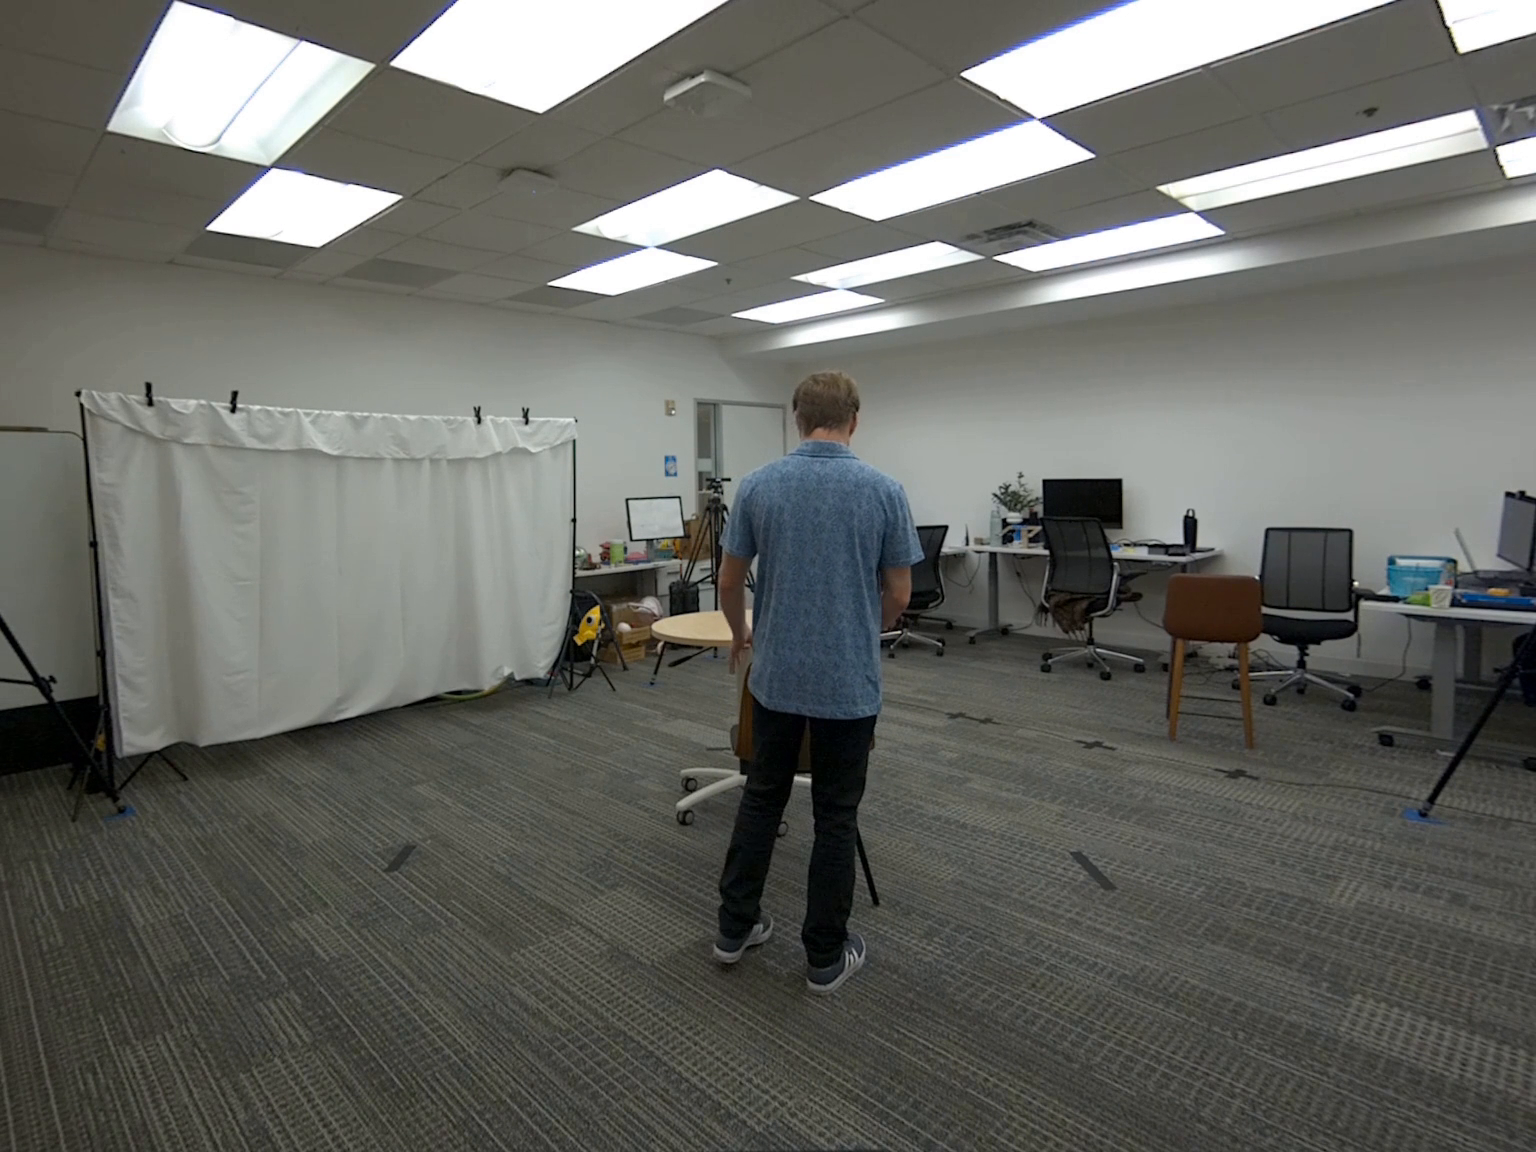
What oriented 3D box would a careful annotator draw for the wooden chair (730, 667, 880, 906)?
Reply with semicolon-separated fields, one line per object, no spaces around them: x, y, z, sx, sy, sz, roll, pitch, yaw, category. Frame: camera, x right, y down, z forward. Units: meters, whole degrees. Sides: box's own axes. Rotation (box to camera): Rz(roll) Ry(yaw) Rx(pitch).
0.108;0.625;2.971;0.476;0.870;0.530;-2;9;-6;wooden chair
